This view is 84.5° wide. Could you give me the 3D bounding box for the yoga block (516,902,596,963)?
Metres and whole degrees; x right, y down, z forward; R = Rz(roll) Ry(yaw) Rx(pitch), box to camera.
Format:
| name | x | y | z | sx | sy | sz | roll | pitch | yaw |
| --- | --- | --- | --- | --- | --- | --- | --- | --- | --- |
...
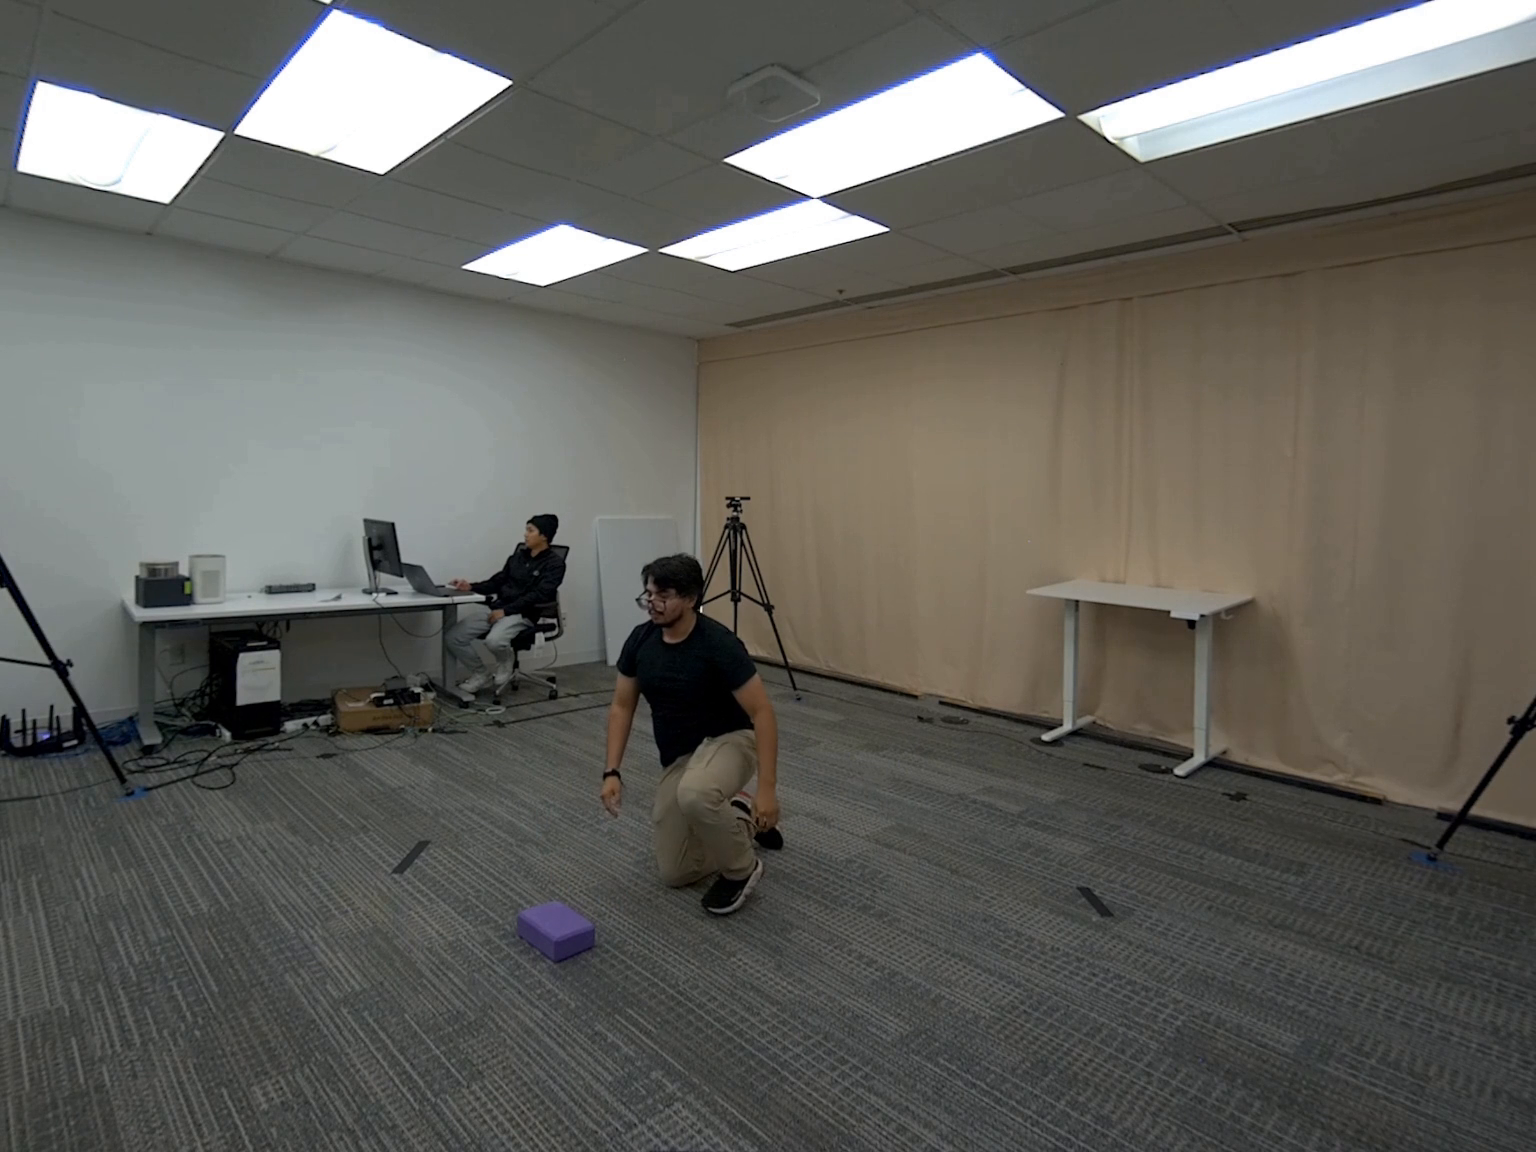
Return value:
| name | x | y | z | sx | sy | sz | roll | pitch | yaw |
| --- | --- | --- | --- | --- | --- | --- | --- | --- | --- |
| yoga block | -0.666 | 1.103 | 2.619 | 0.235 | 0.076 | 0.145 | 6 | 6 | 44 |
